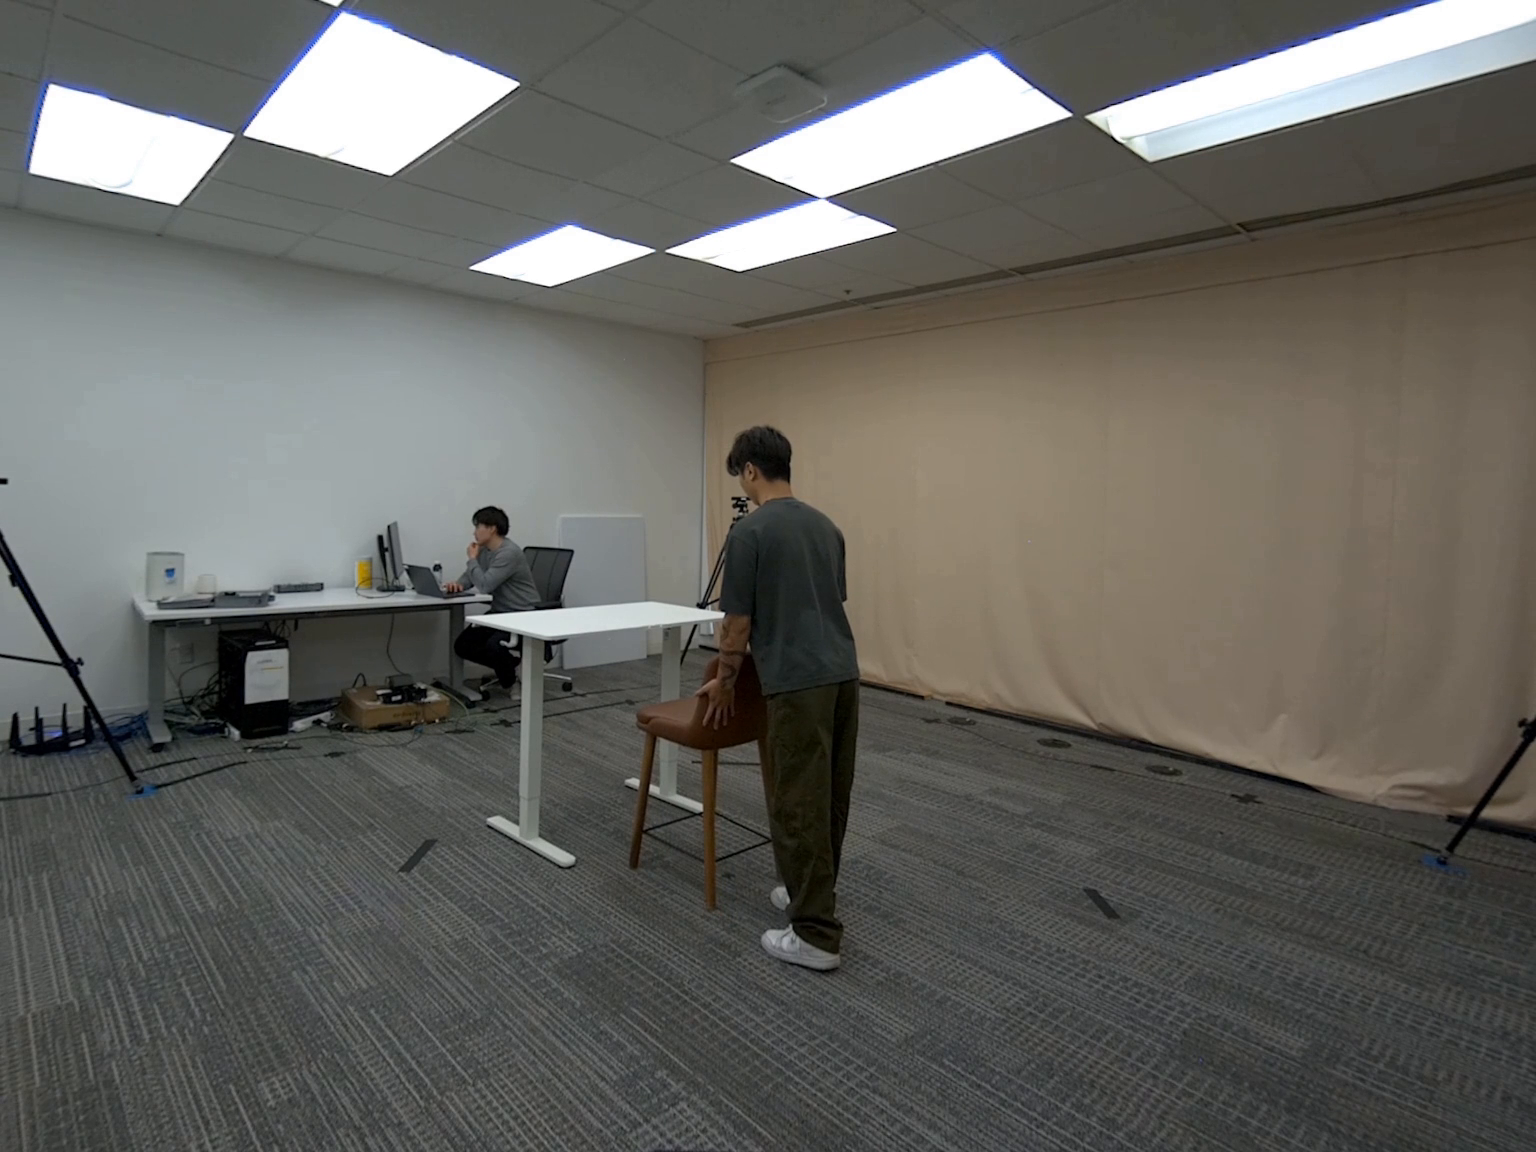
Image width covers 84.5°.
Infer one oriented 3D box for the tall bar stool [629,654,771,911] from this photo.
[{"bbox_3d":[-0.213,0.668,3.100,0.446,0.886,0.480,-2,7,-45],"label":"tall bar stool"}]
